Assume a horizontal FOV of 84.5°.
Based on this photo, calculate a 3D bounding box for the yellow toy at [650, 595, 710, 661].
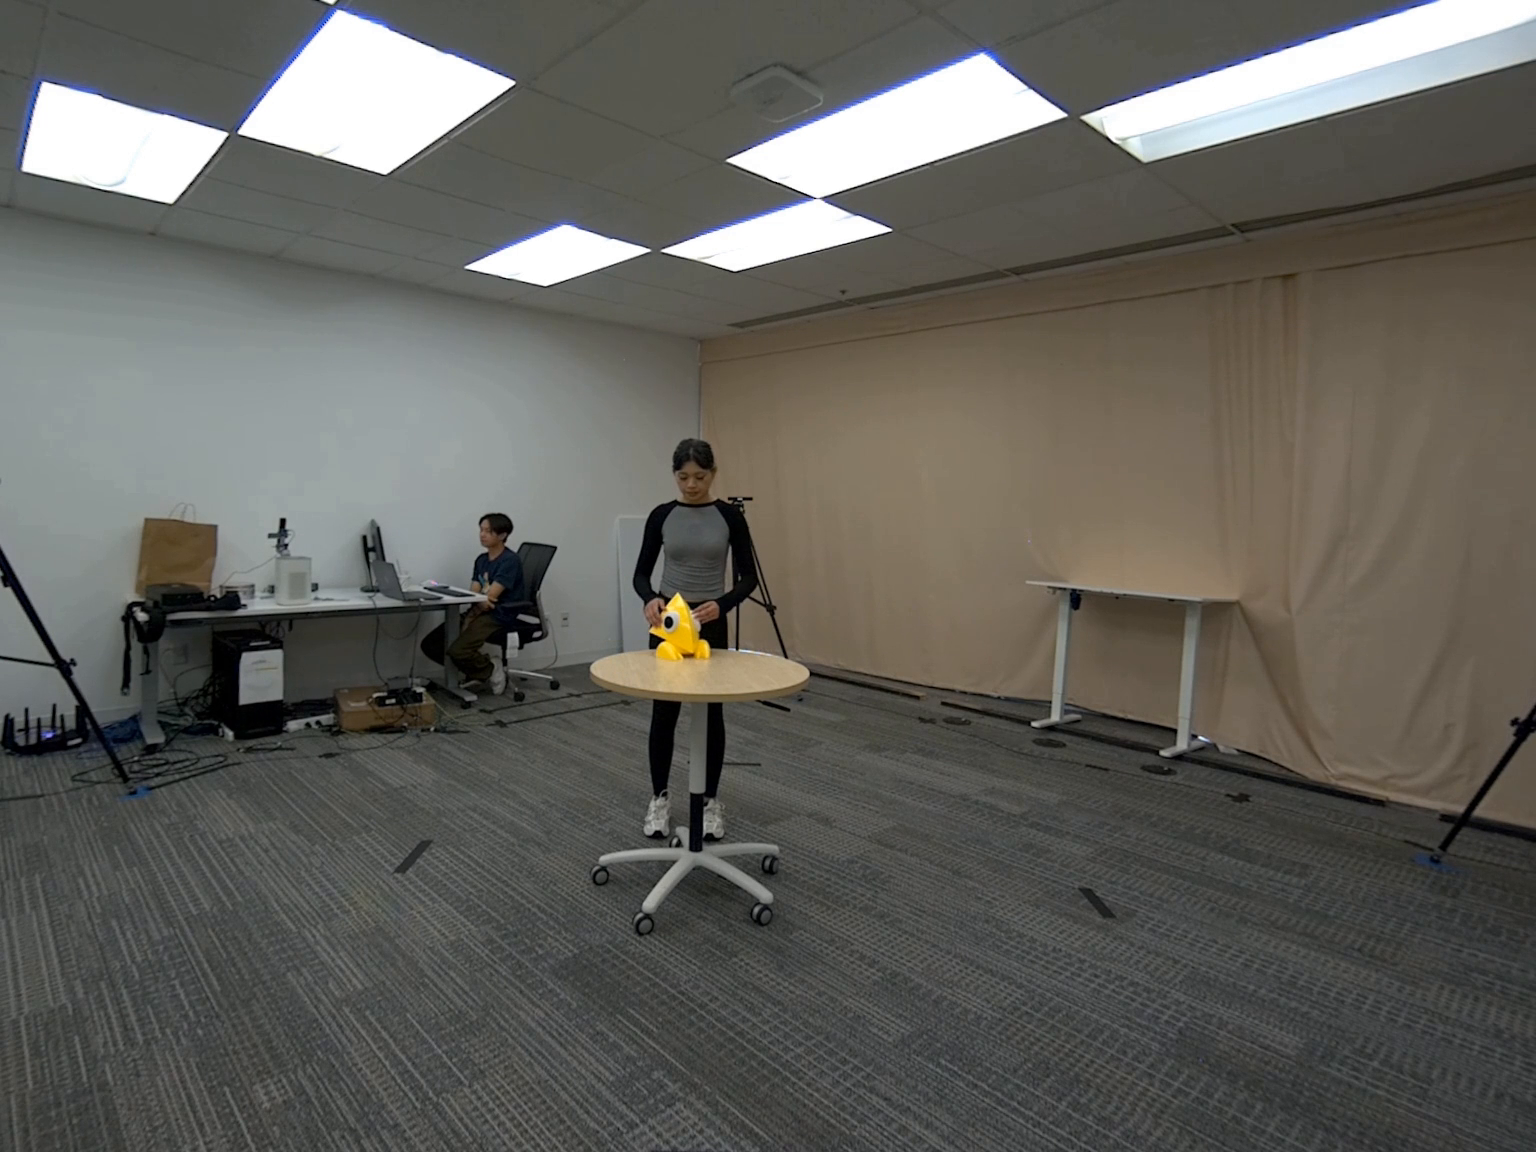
[{"bbox_3d":[-0.337,0.187,3.181,0.201,0.230,0.197,0,5,-28],"label":"yellow toy"}]
